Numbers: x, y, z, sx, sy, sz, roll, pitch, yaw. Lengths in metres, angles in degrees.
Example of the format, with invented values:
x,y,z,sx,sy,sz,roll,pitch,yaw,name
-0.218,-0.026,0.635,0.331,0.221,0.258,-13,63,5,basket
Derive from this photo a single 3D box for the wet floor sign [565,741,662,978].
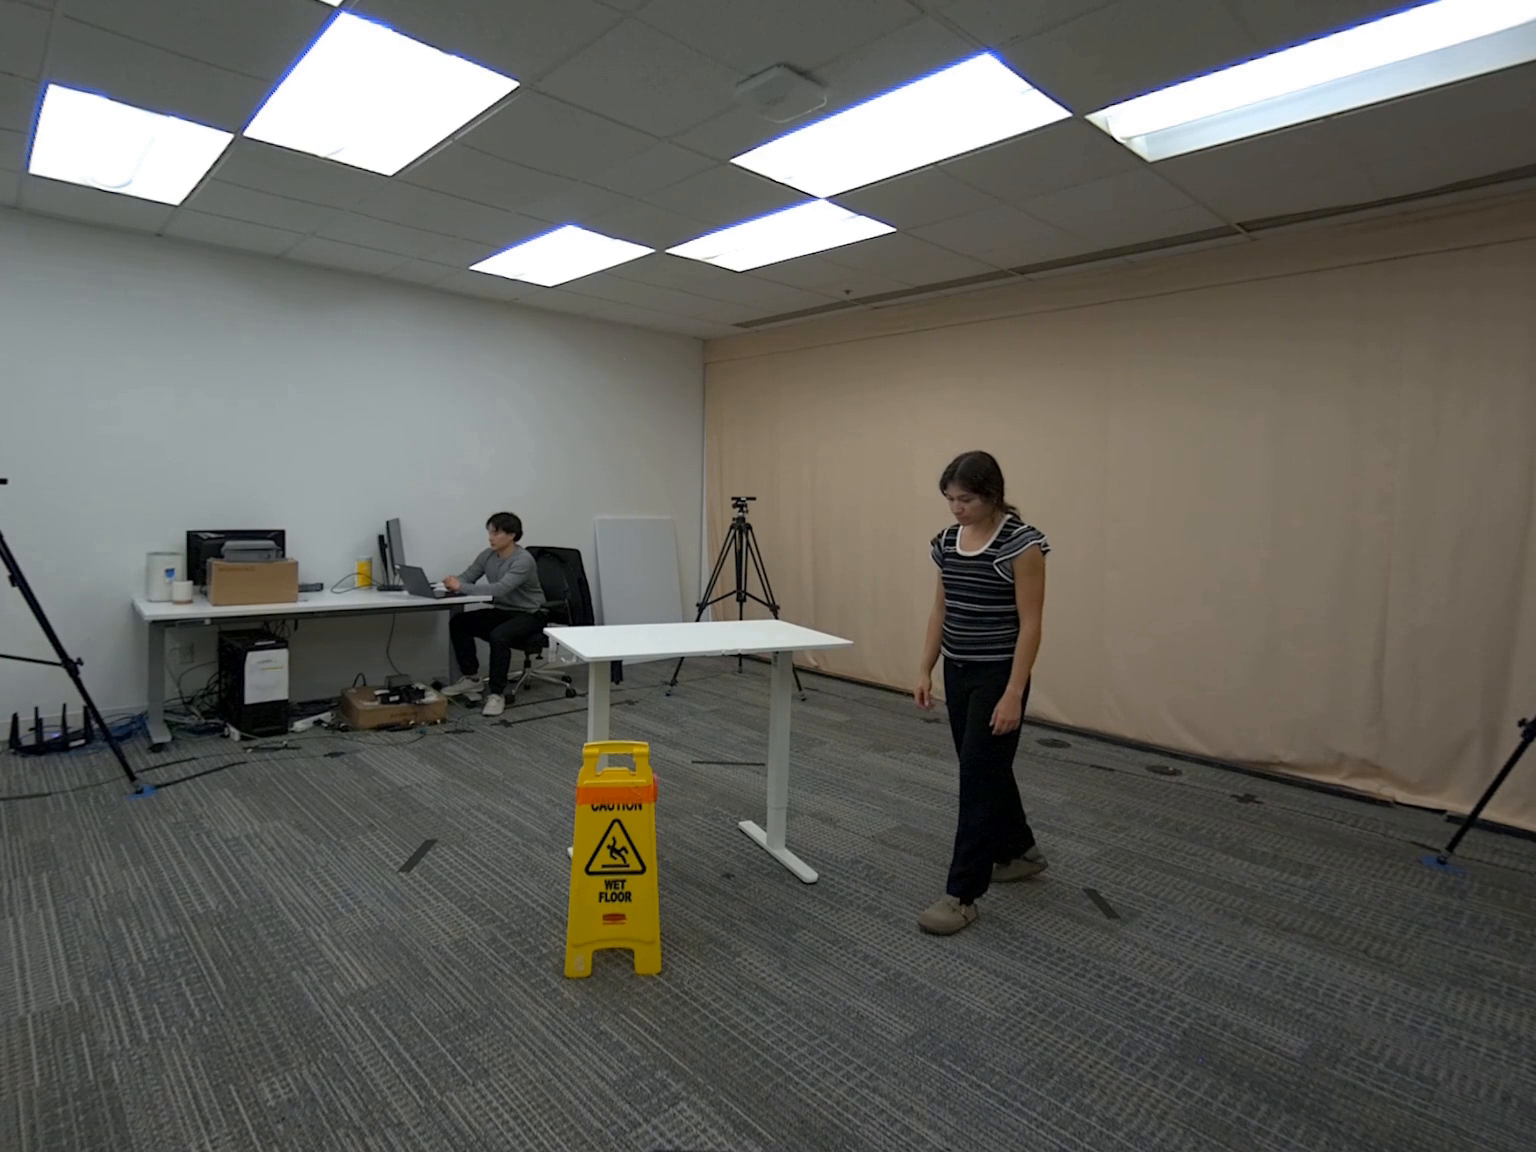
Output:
x,y,z,sx,sy,sz,roll,pitch,yaw,name
-0.481,0.829,2.536,0.281,0.644,0.292,0,5,-7,wet floor sign
